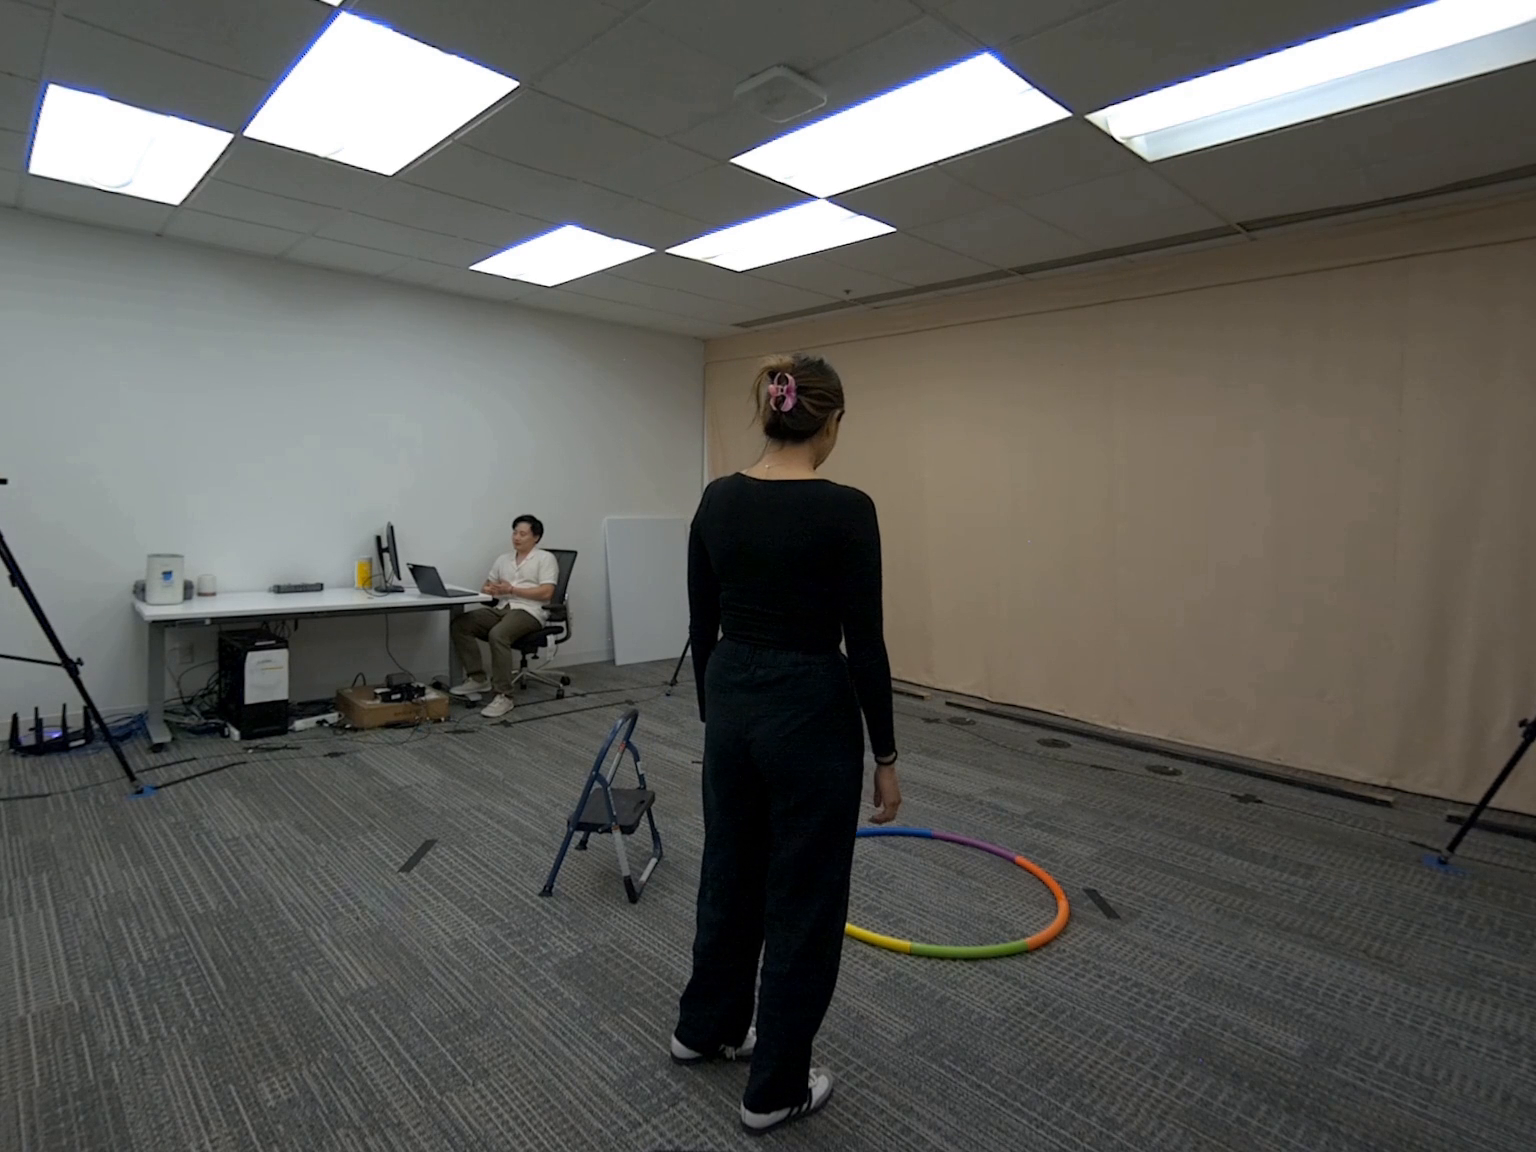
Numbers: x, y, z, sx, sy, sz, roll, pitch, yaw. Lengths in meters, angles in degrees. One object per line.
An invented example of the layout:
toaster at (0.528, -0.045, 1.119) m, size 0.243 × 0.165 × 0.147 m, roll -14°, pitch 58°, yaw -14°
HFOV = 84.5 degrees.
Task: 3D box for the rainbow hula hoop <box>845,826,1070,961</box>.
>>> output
rainbow hula hoop at (0.543, 1.091, 3.058) m, size 0.978 × 0.035 × 0.982 m, roll 1°, pitch 5°, yaw -1°
